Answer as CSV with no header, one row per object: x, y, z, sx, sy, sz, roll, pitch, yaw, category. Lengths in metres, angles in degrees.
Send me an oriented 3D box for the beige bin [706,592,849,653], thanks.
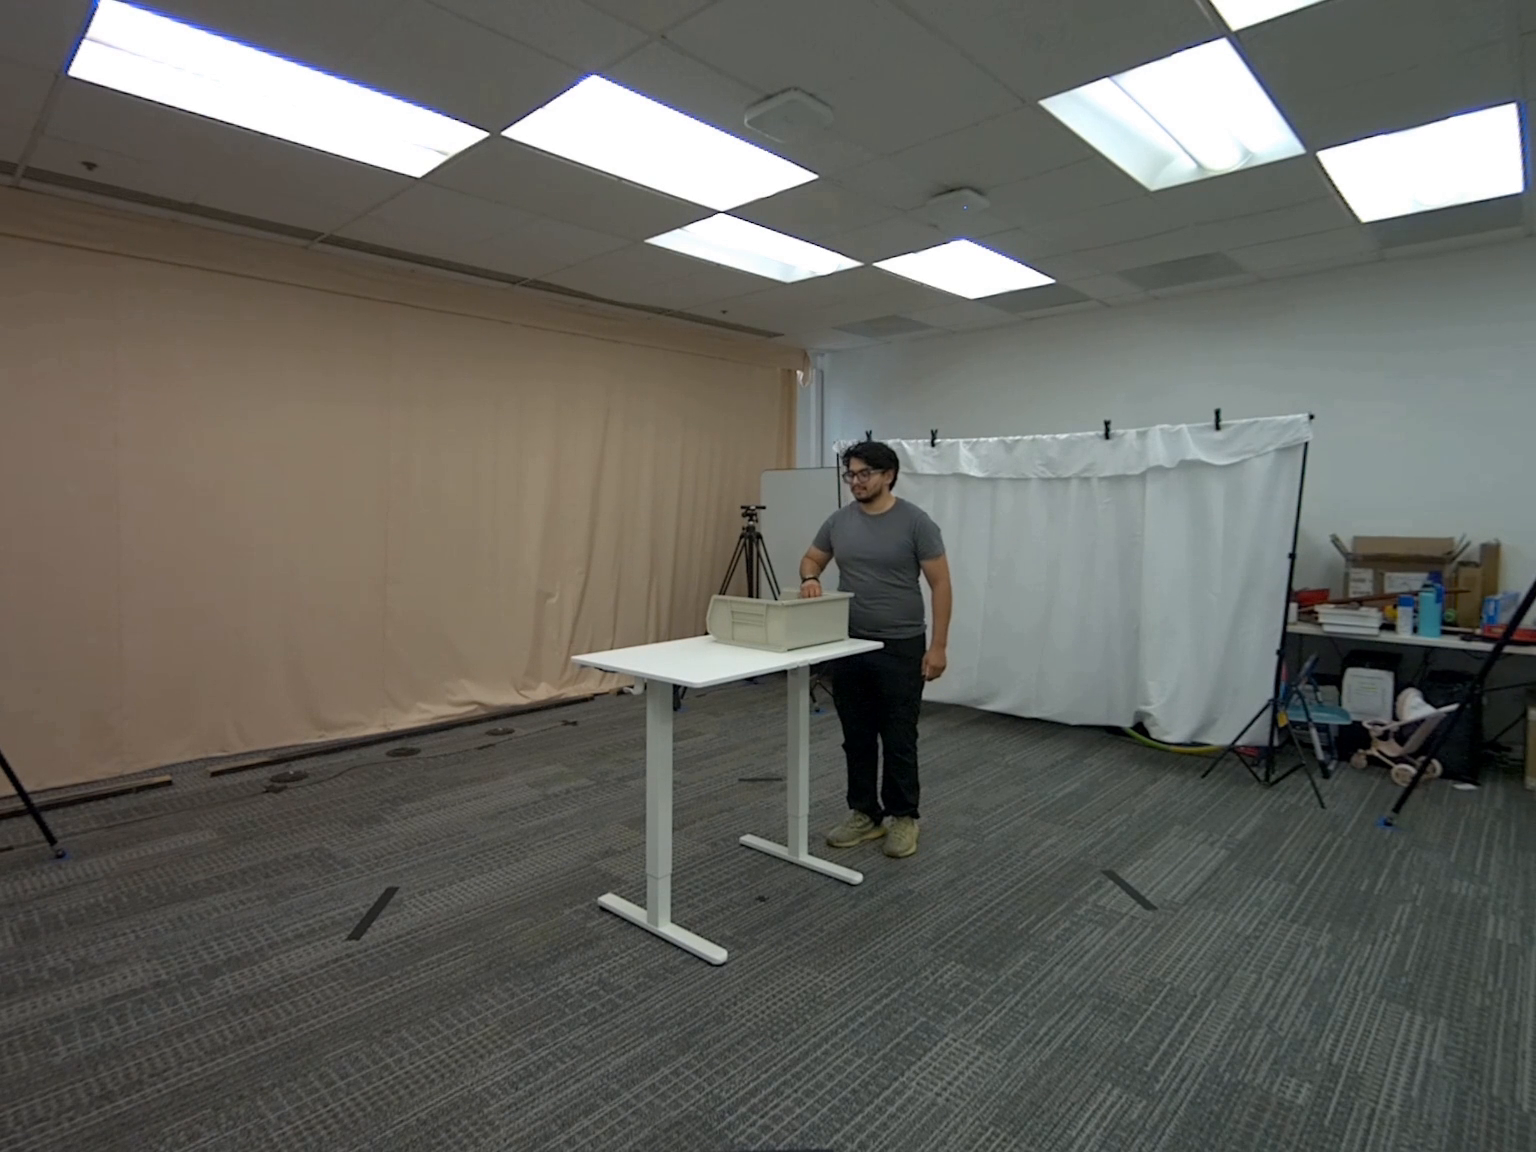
0.046,0.157,3.178,0.390,0.188,0.409,6,7,42,beige bin
